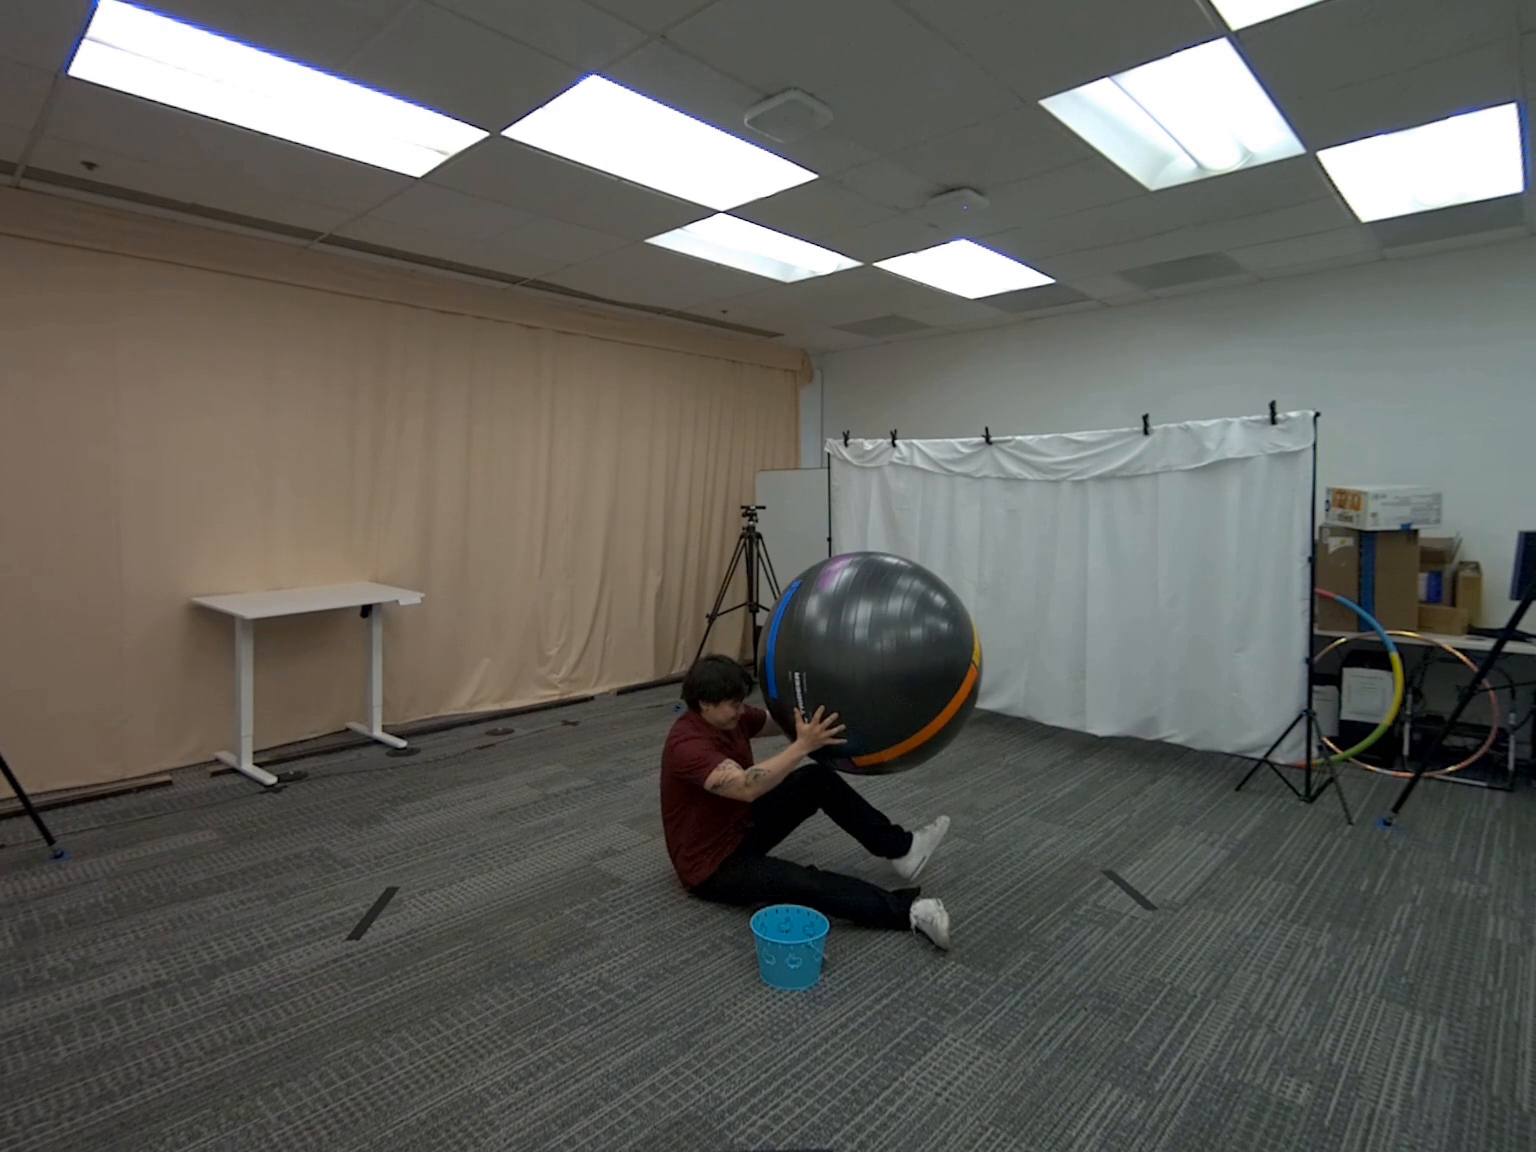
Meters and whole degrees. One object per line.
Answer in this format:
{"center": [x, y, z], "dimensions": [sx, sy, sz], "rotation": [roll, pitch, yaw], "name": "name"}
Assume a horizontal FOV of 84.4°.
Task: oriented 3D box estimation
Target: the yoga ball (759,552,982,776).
{"center": [0.347, 0.309, 2.914], "dimensions": [0.757, 0.756, 0.760], "rotation": [0, 4, -2], "name": "yoga ball"}
